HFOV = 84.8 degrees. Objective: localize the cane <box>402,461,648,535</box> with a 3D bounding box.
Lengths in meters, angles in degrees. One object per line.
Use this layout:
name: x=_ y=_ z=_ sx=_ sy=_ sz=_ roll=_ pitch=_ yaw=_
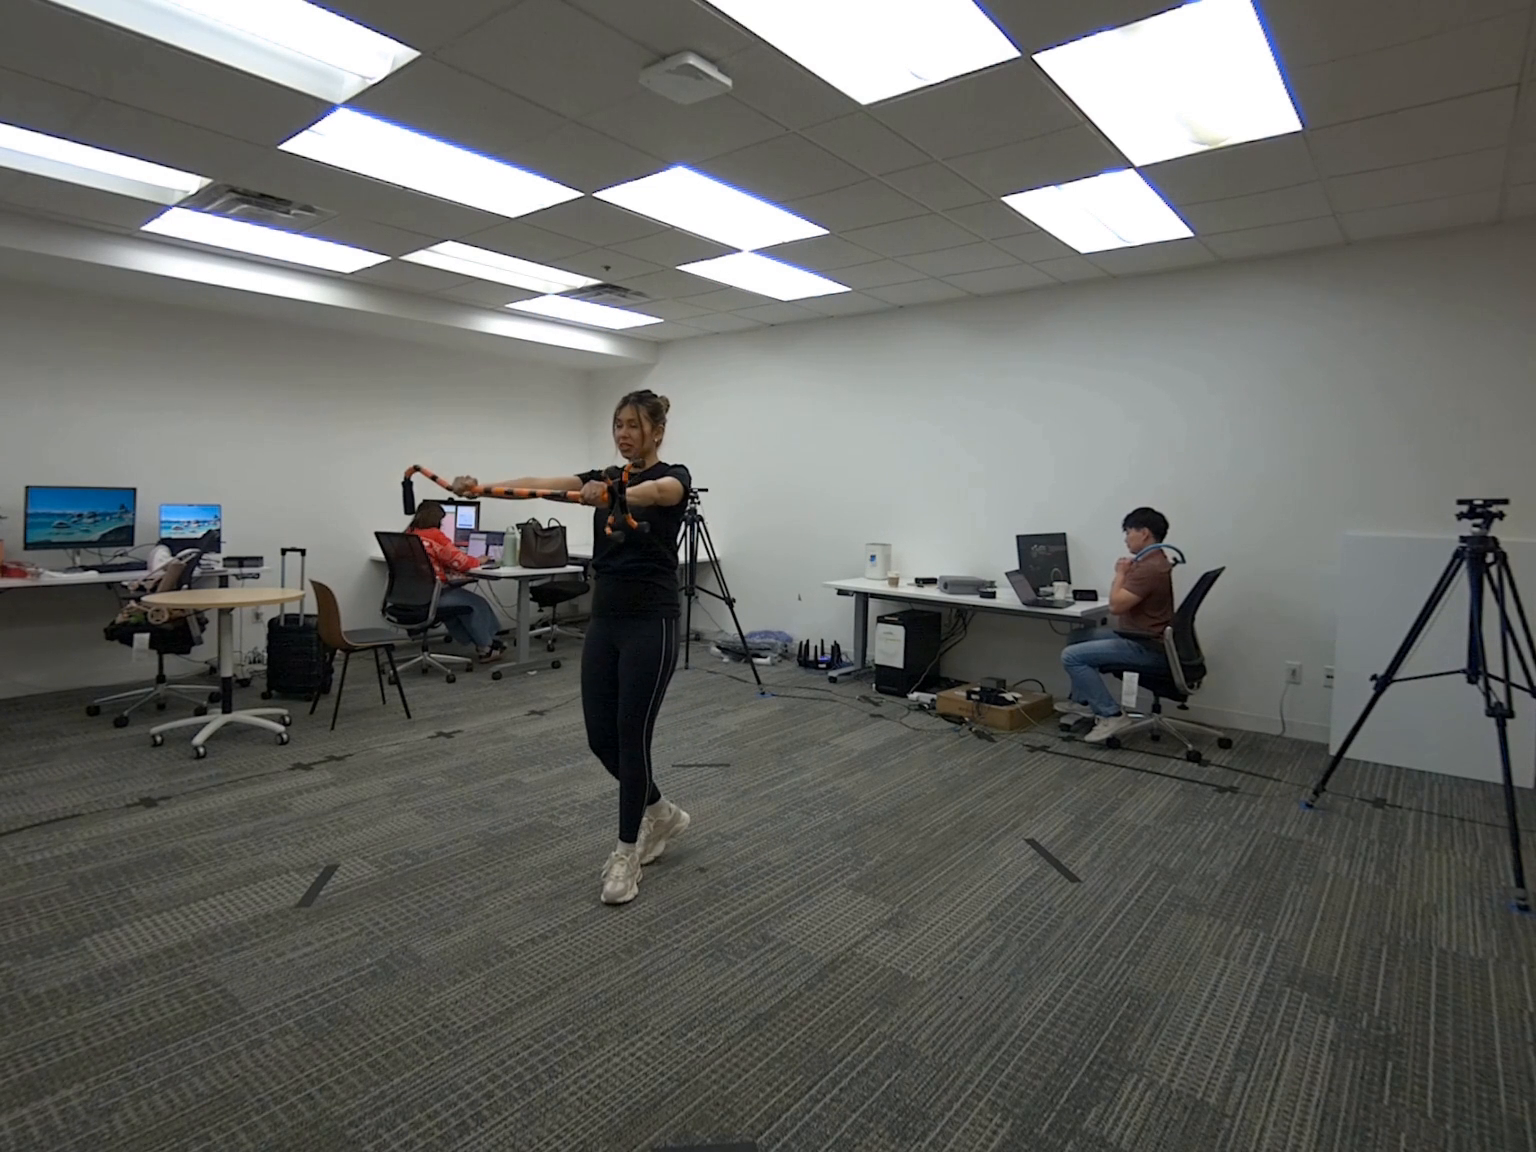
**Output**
cane: x=-0.788 y=-0.256 z=2.511 sx=0.934 sy=0.203 sz=0.149 roll=6 pitch=16 yaw=27
